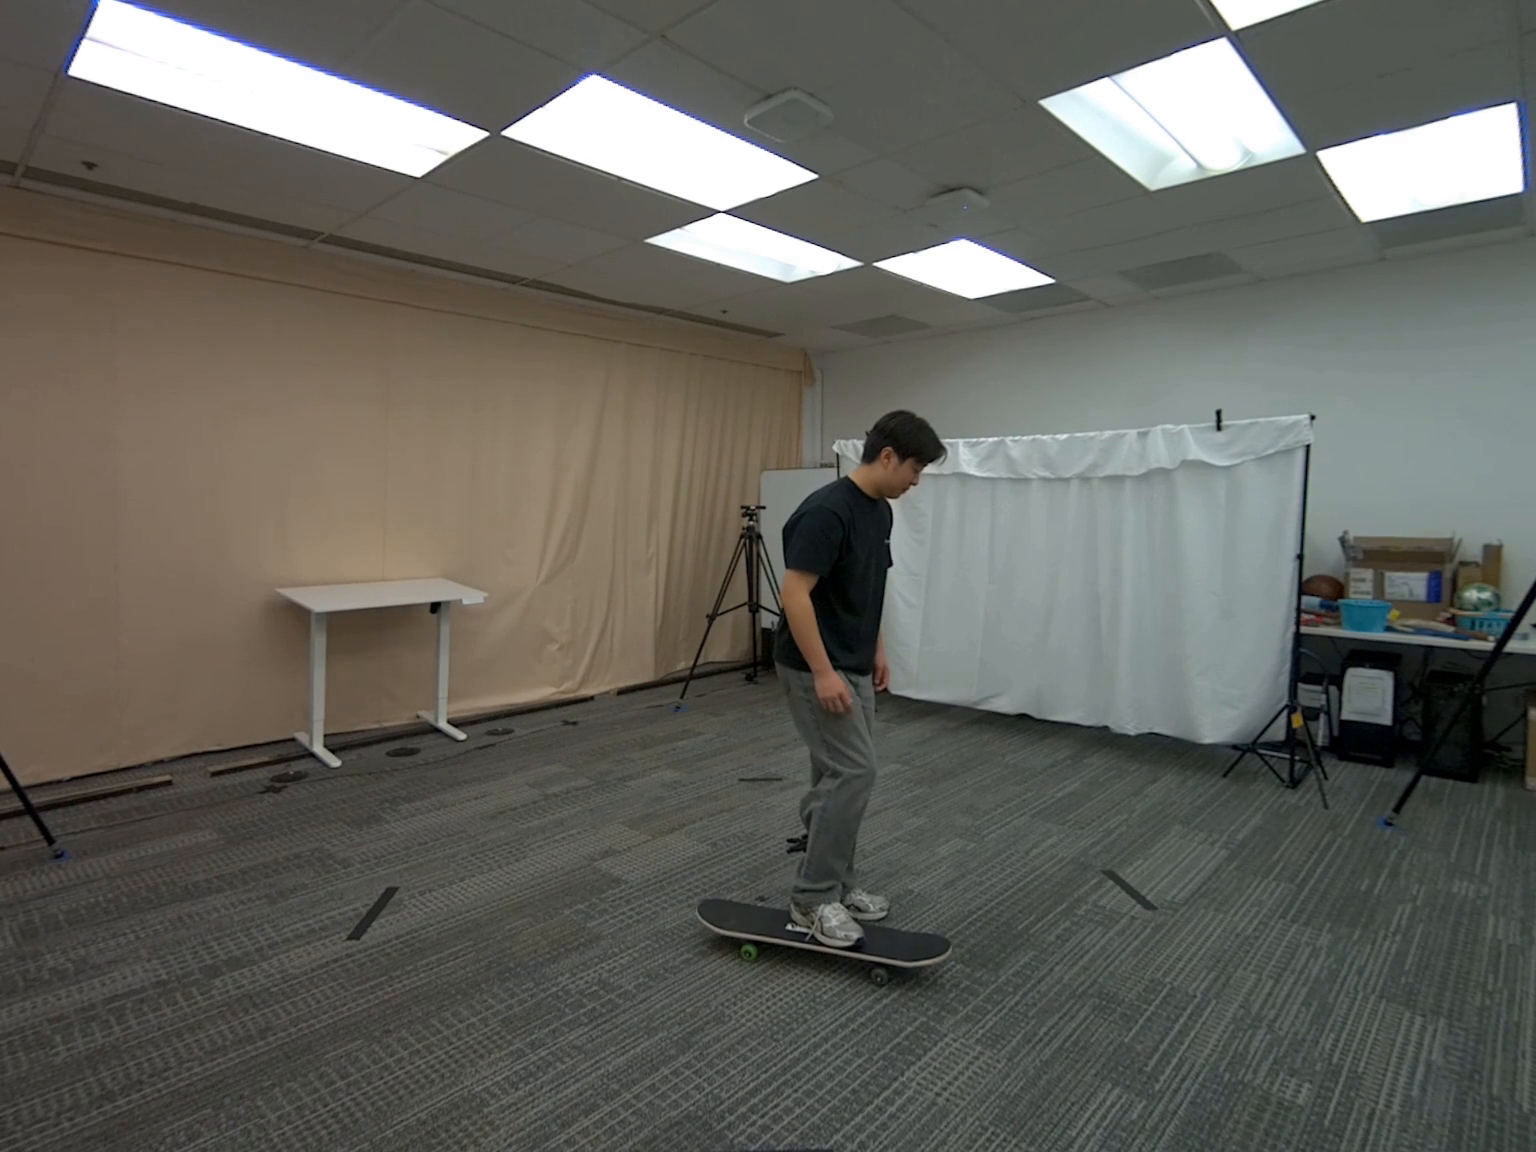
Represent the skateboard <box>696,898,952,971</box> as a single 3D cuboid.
[{"bbox_3d":[0.173,1.121,2.577,0.800,0.110,0.190,1,4,17],"label":"skateboard"}]
